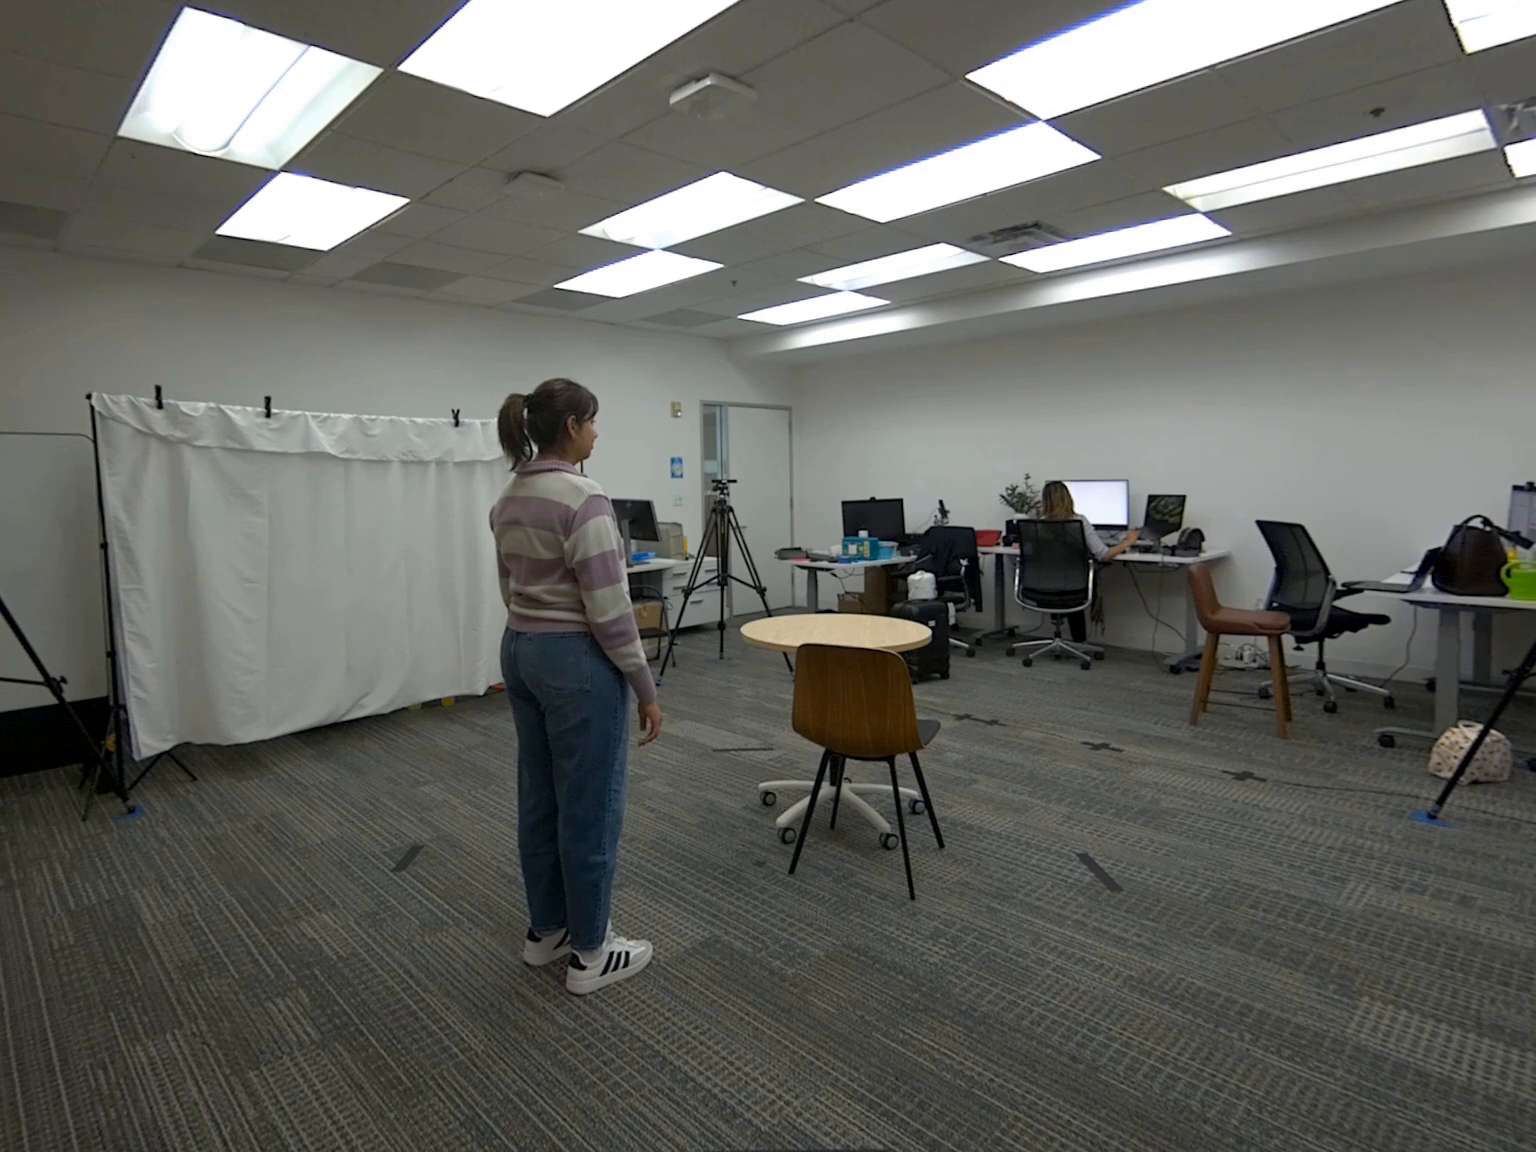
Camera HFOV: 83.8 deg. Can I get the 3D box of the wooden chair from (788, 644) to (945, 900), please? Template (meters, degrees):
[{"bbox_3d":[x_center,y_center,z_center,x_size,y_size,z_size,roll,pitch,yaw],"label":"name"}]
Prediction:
[{"bbox_3d":[0.363,0.617,3.094,0.489,0.871,0.514,1,8,26],"label":"wooden chair"}]
